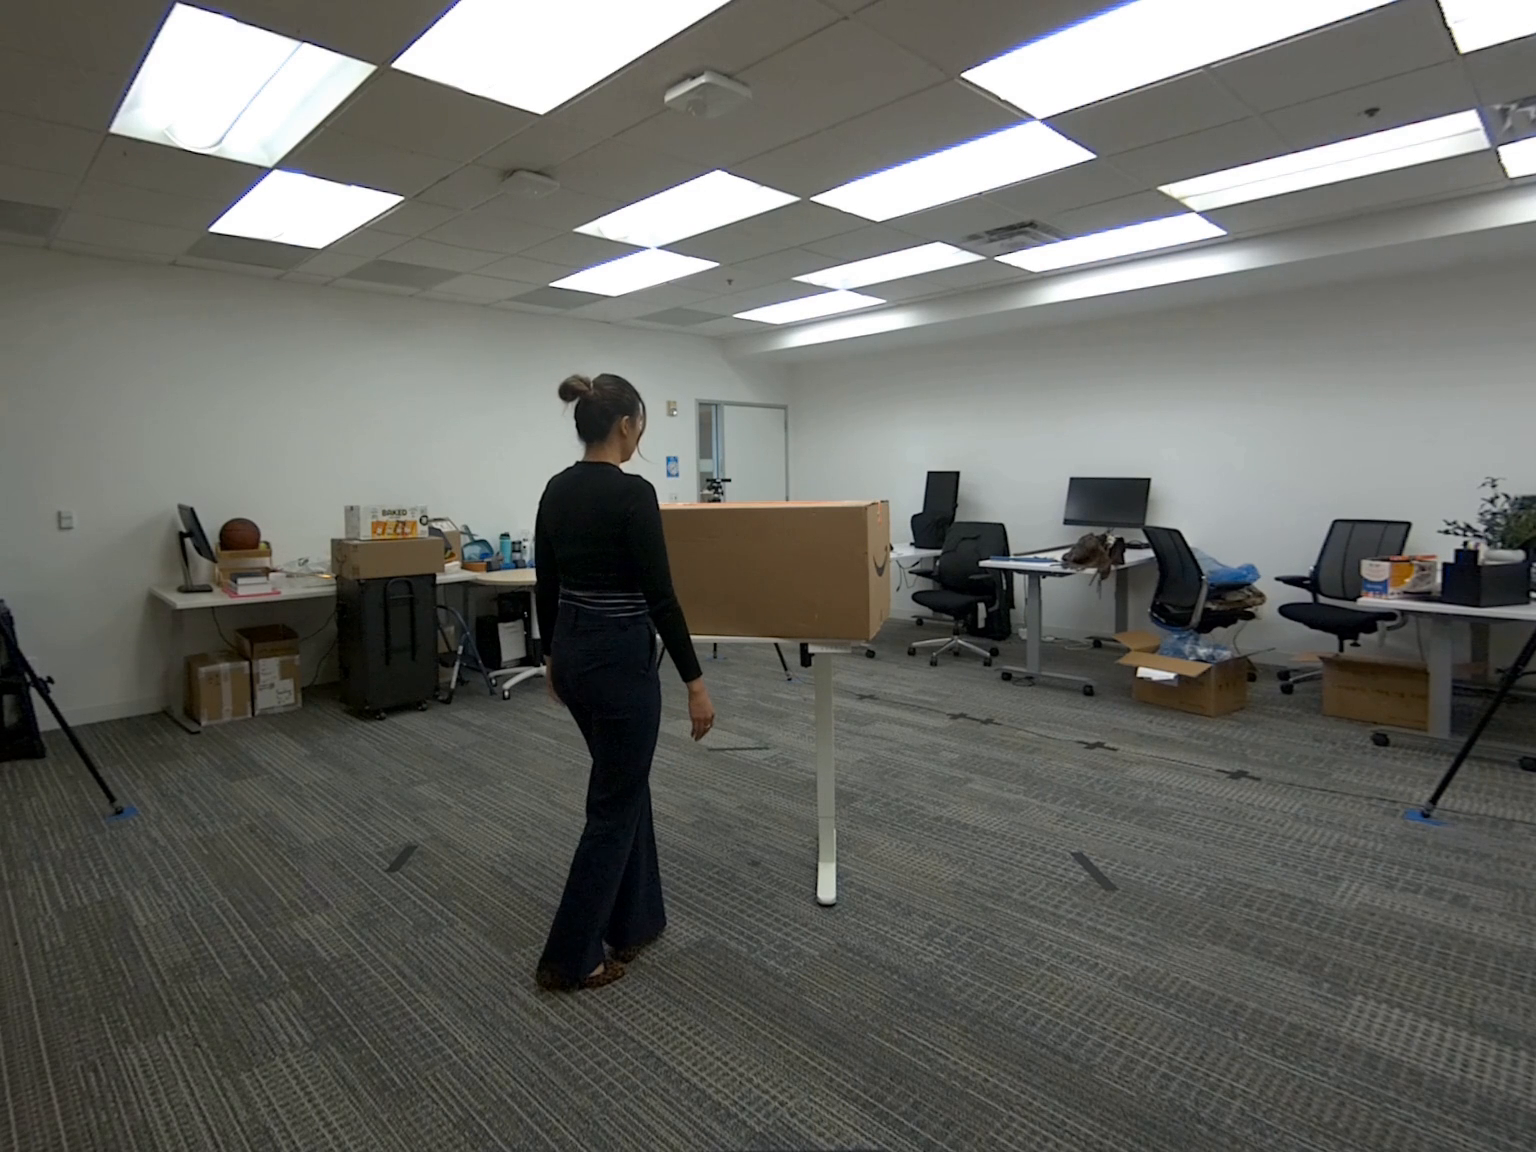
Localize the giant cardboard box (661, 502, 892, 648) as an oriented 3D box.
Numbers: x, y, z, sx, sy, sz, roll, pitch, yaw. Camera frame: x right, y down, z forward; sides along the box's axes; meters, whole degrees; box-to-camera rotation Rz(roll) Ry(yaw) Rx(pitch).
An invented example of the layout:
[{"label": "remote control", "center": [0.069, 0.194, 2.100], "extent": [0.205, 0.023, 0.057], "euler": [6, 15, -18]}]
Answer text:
[{"label": "giant cardboard box", "center": [-0.107, -0.046, 3.057], "extent": [1.044, 0.424, 0.570], "euler": [0, 5, 18]}]
